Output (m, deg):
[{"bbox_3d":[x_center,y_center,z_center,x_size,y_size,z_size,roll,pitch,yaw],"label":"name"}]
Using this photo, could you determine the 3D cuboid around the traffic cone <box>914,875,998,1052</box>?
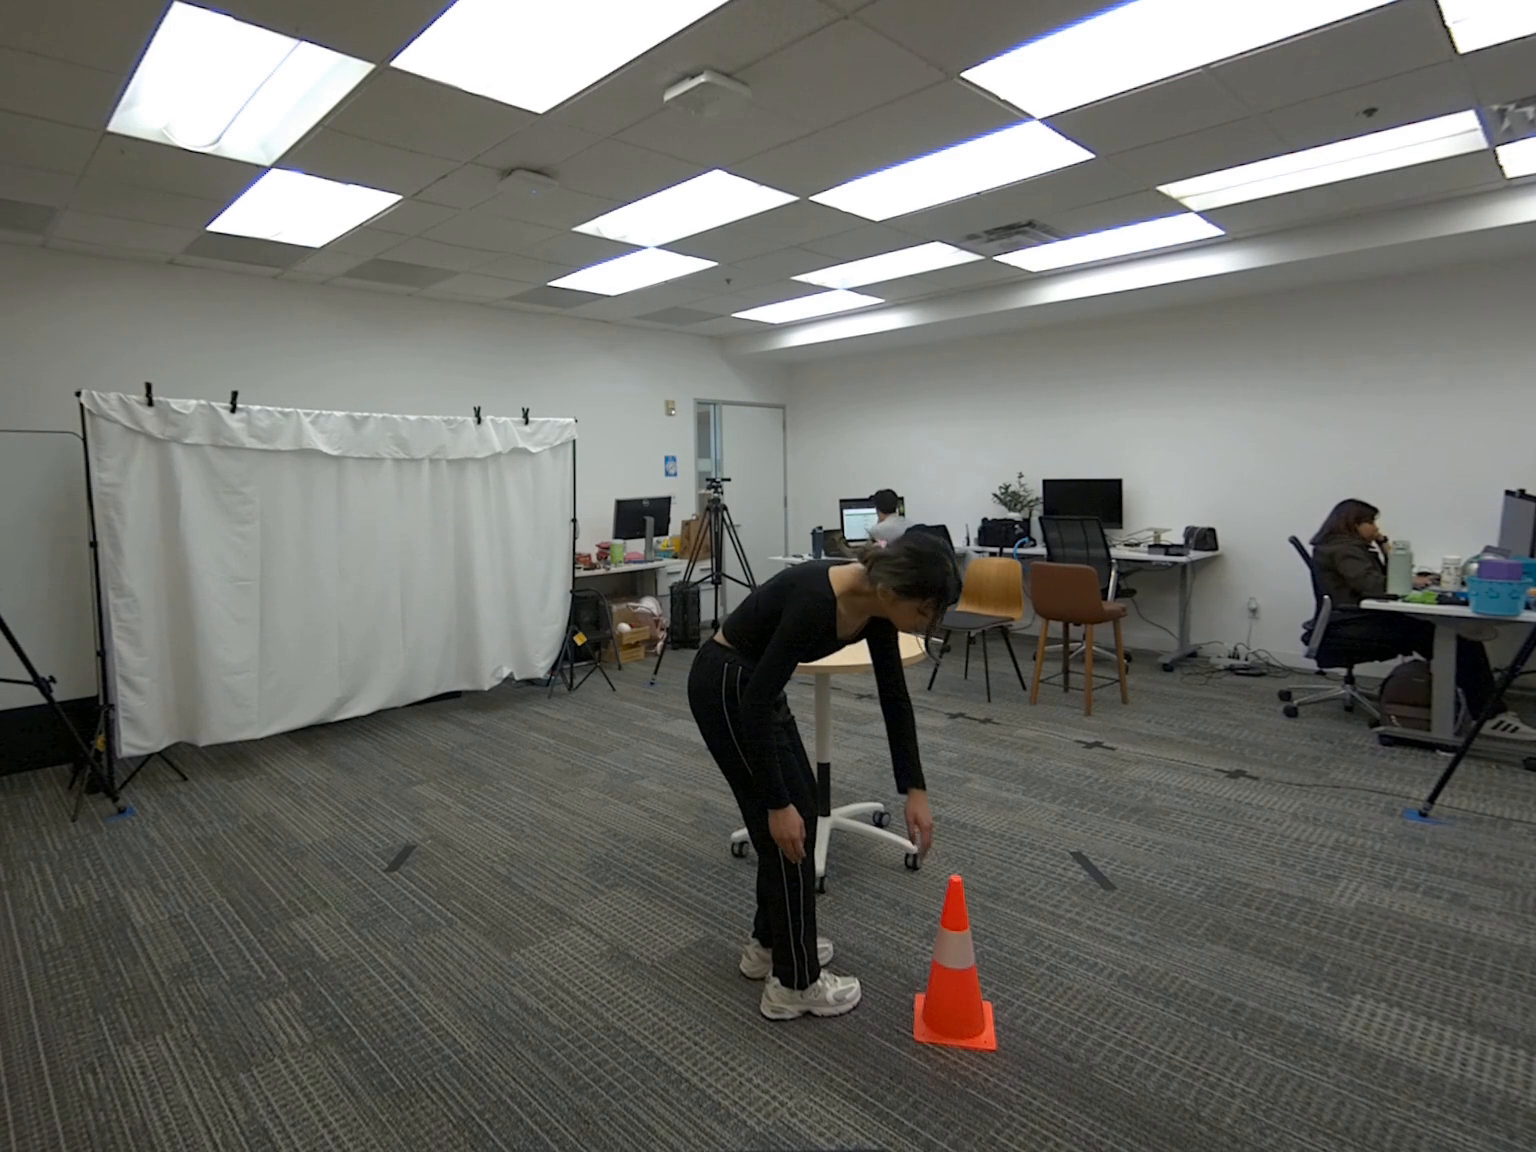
[{"bbox_3d":[0.468,0.945,2.183,0.206,0.383,0.202,-1,3,16],"label":"traffic cone"}]
